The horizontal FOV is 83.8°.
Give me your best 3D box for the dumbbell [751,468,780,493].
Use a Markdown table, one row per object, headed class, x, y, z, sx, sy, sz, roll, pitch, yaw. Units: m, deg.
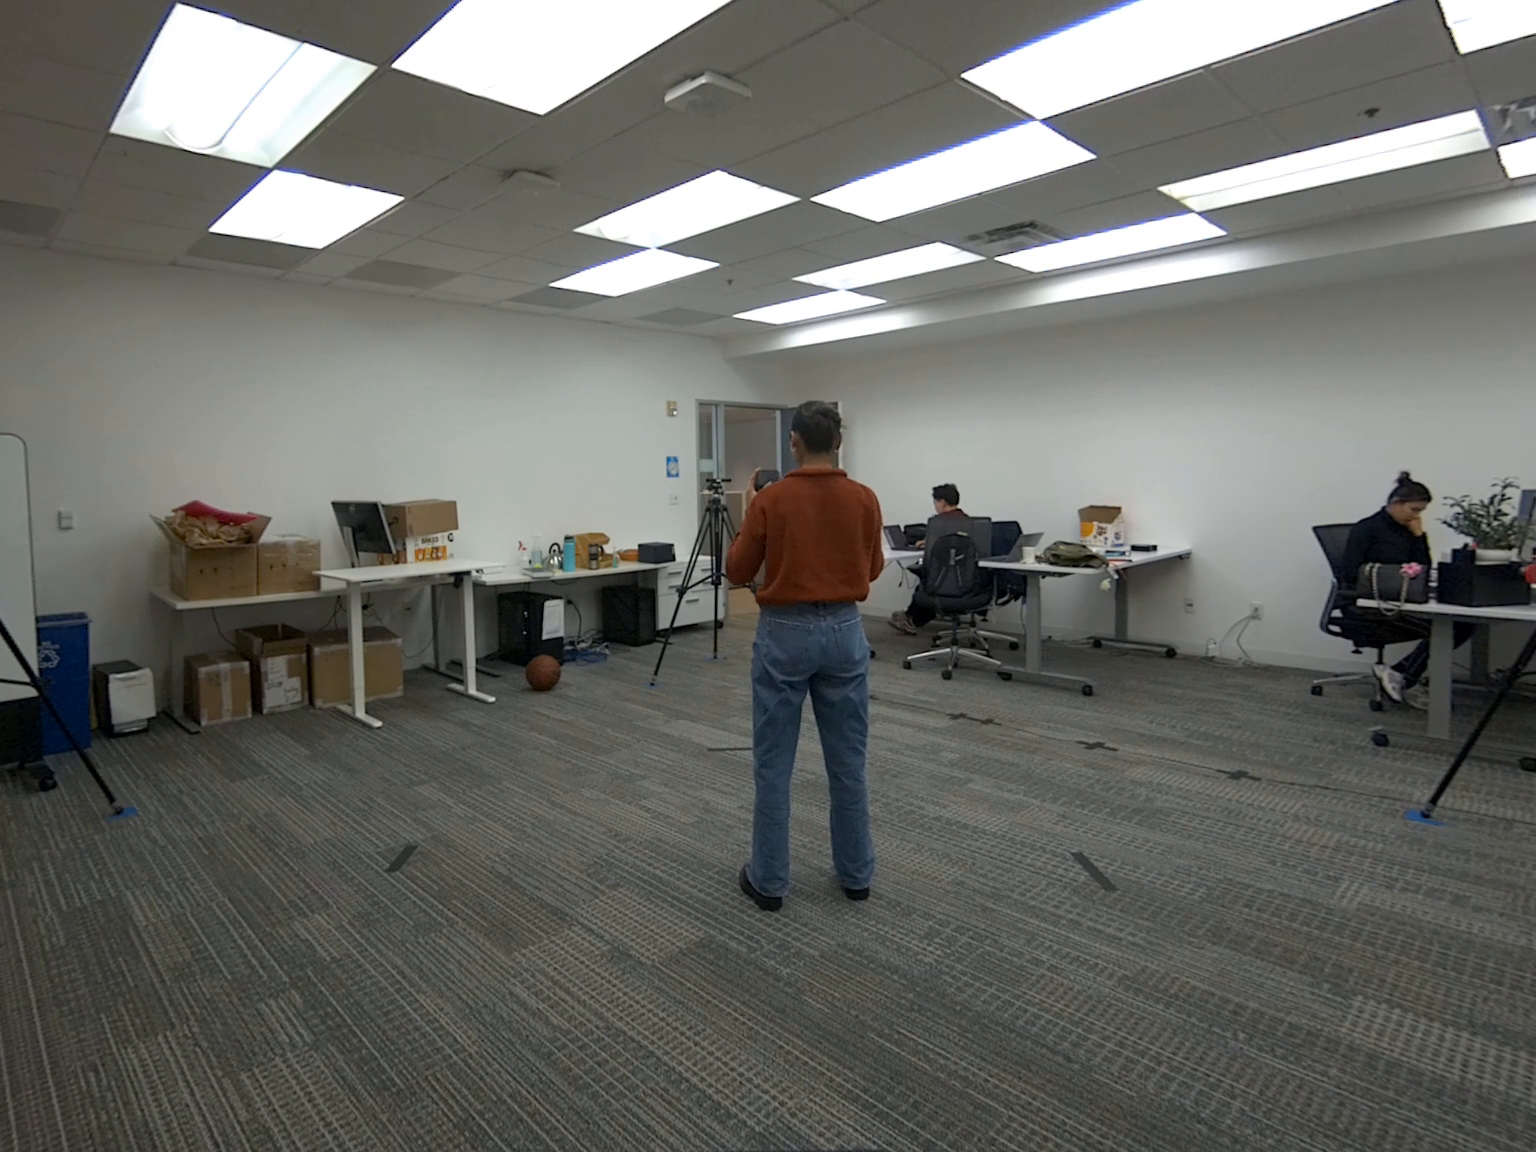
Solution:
| class | x | y | z | sx | sy | sz | roll | pitch | yaw |
| --- | --- | --- | --- | --- | --- | --- | --- | --- | --- |
| dumbbell | 0.104 | -0.314 | 2.949 | 0.291 | 0.120 | 0.112 | -2 | 34 | -9 |
